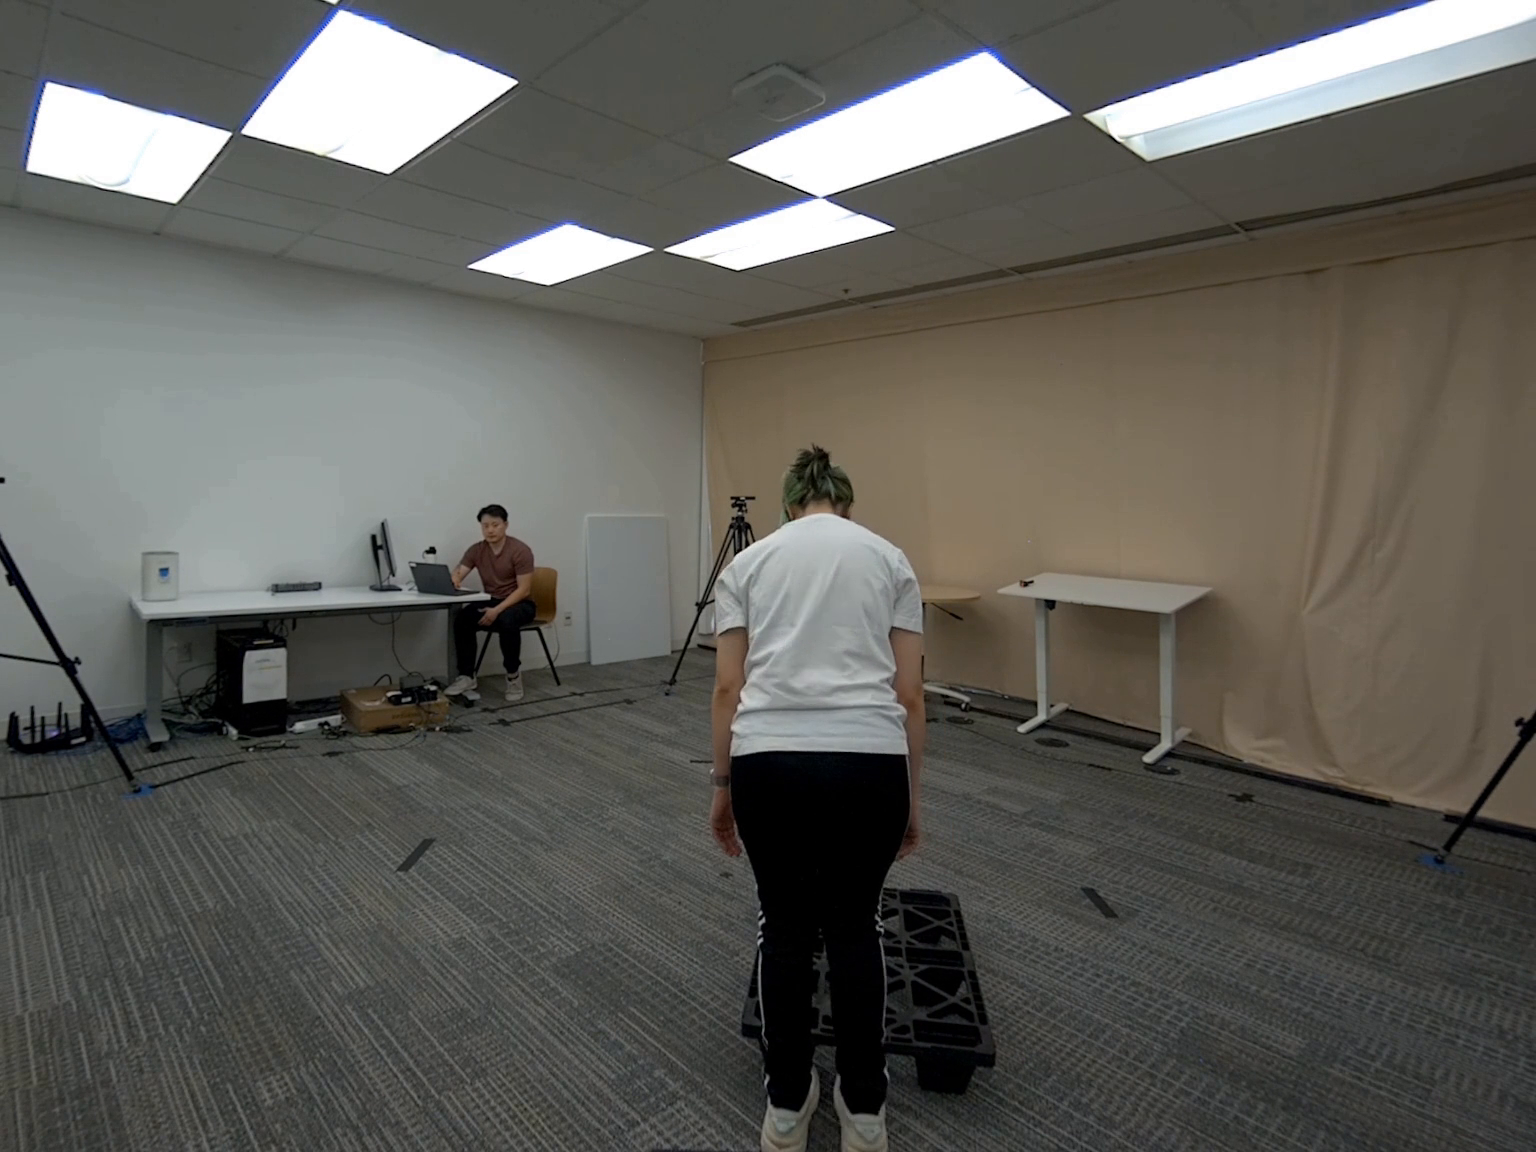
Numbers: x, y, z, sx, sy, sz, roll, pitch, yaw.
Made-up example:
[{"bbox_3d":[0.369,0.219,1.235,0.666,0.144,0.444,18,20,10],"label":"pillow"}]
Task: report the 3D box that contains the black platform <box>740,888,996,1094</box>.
[{"bbox_3d":[0.266,1.114,2.374,0.609,0.143,0.803,3,6,7],"label":"black platform"}]
